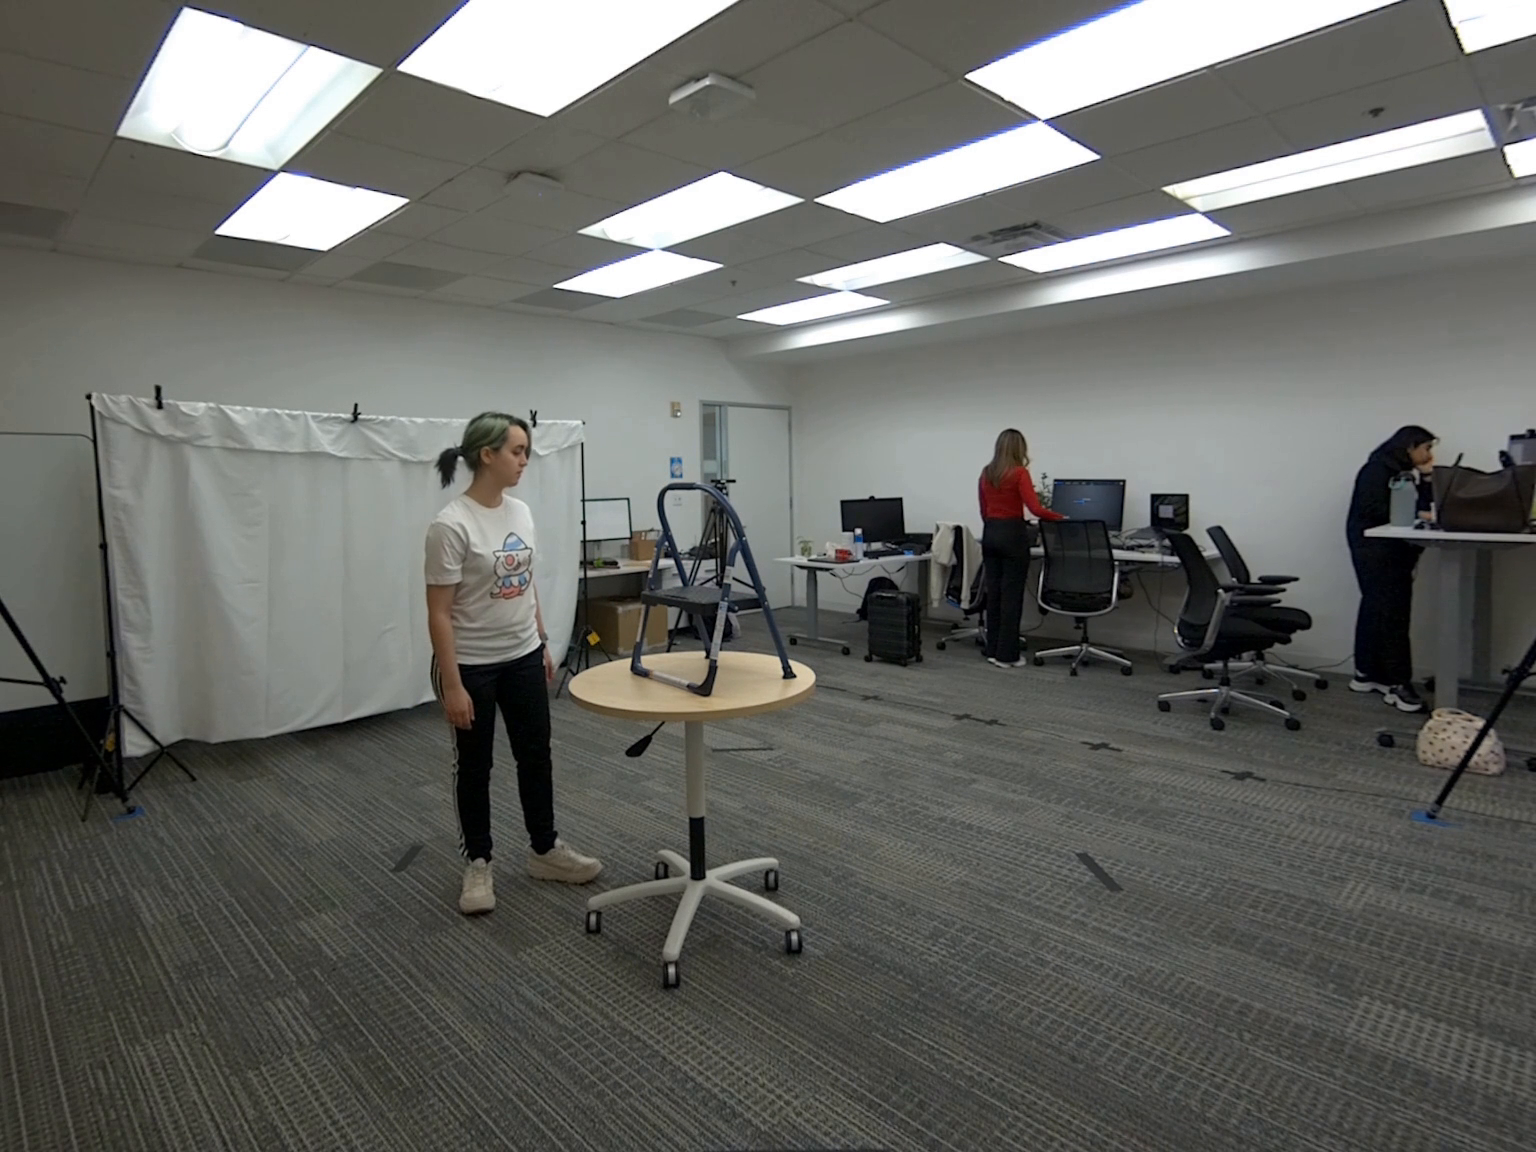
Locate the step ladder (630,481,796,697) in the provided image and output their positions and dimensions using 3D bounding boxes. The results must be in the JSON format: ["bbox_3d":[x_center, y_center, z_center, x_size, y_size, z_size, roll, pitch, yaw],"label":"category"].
[{"bbox_3d":[-0.190,0.015,2.666,0.340,0.604,0.444,-6,6,-40],"label":"step ladder"}]
